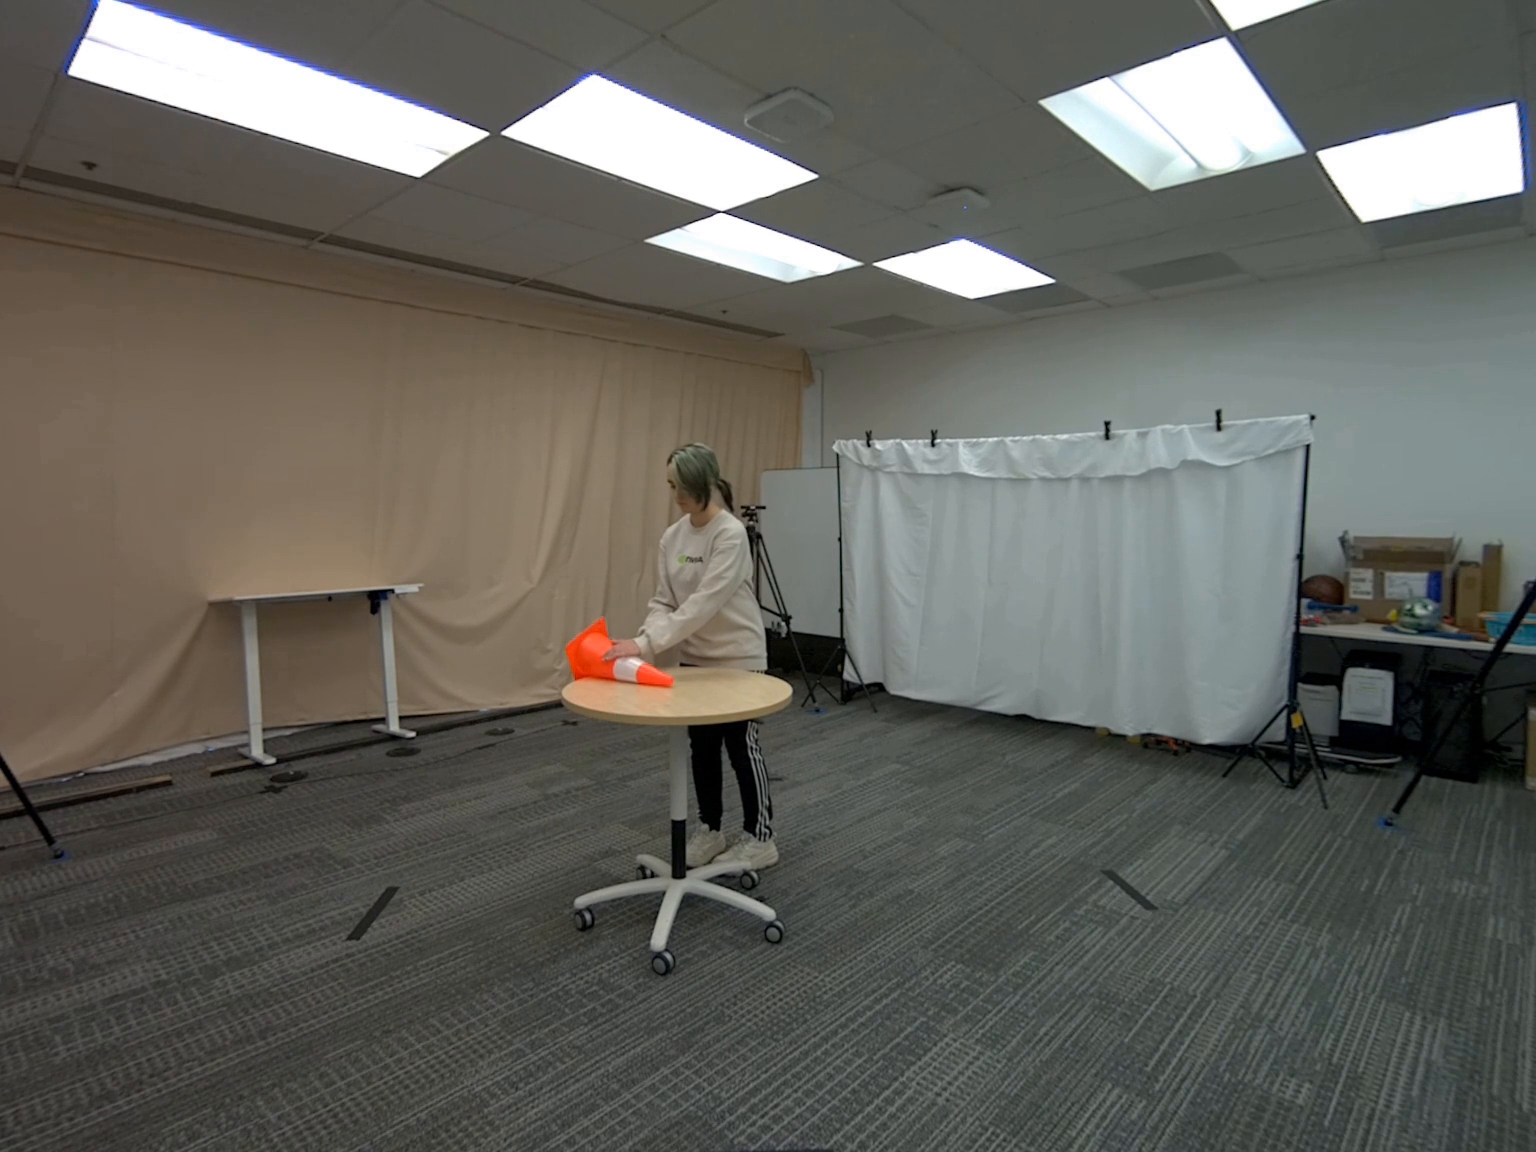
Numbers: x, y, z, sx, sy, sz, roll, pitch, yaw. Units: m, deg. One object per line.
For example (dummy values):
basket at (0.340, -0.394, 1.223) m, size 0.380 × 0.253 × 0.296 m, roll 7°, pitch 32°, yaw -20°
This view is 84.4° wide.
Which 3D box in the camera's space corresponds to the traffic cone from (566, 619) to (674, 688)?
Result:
traffic cone at (-0.481, 0.318, 2.929) m, size 0.396 × 0.201 × 0.200 m, roll 13°, pitch 33°, yaw 32°
